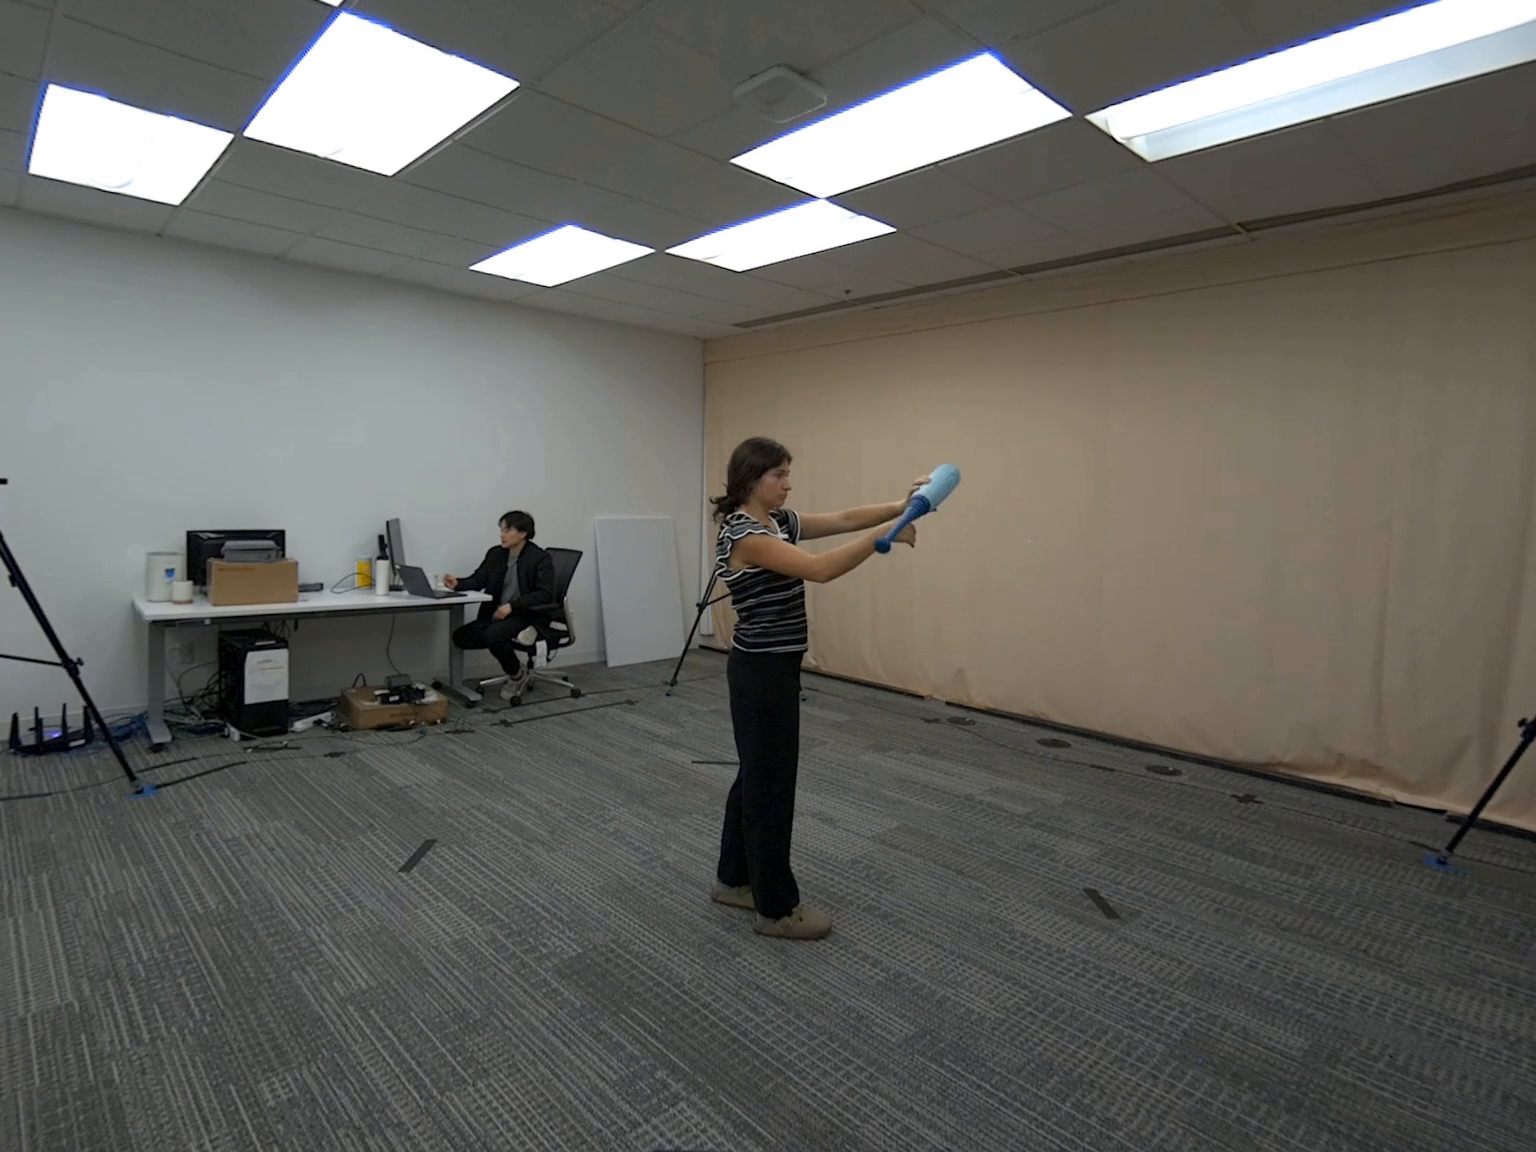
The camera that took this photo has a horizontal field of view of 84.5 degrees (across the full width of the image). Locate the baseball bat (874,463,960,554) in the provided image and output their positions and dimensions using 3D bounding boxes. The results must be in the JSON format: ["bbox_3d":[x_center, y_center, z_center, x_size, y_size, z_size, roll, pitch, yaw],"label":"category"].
[{"bbox_3d":[0.444,-0.199,2.524,0.091,0.087,0.540,4,29,34],"label":"baseball bat"}]
